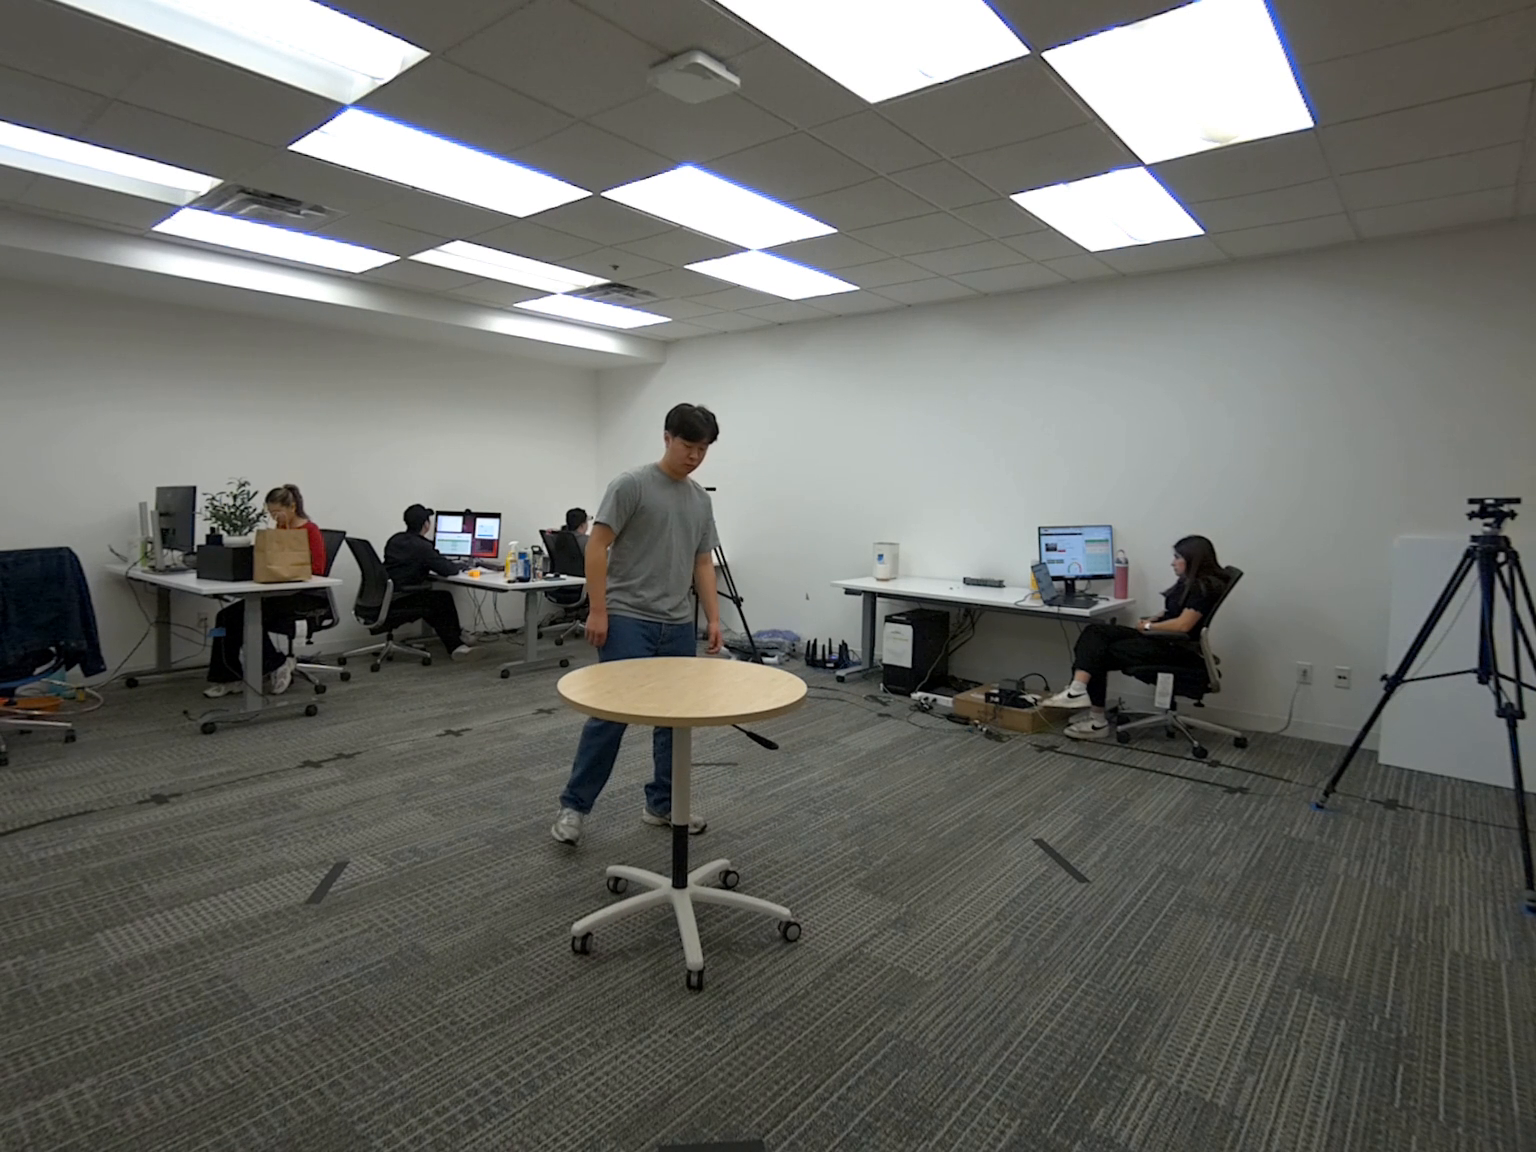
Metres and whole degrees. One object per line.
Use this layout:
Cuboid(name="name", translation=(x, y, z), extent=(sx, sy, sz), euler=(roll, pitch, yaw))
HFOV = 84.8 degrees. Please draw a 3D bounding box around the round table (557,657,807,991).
Cuboid(name="round table", translation=(-0.277, 0.720, 2.649), extent=(0.763, 0.791, 0.768), euler=(1, 4, -2))
